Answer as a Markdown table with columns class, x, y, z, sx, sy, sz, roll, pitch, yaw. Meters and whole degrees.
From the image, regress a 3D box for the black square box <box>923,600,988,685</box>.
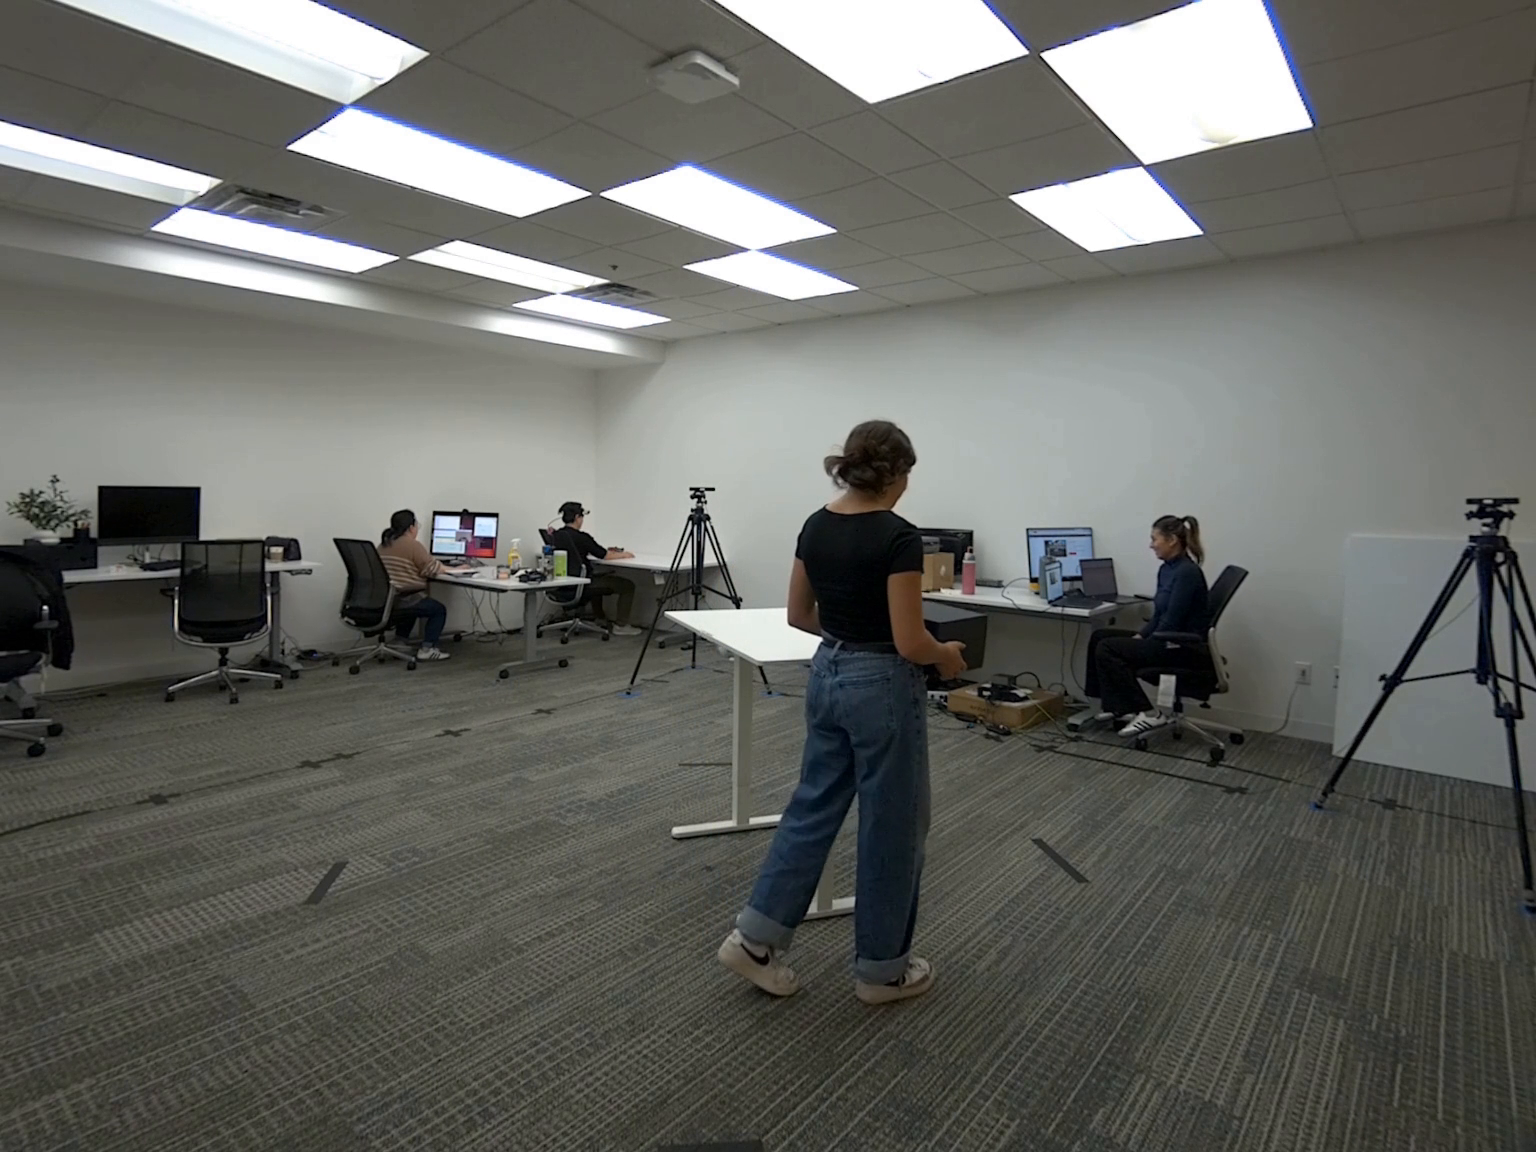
| class | x | y | z | sx | sy | sz | roll | pitch | yaw |
| --- | --- | --- | --- | --- | --- | --- | --- | --- | --- |
| black square box | 0.466 | 0.174 | 2.481 | 0.221 | 0.155 | 0.225 | -5 | 12 | -39 |
